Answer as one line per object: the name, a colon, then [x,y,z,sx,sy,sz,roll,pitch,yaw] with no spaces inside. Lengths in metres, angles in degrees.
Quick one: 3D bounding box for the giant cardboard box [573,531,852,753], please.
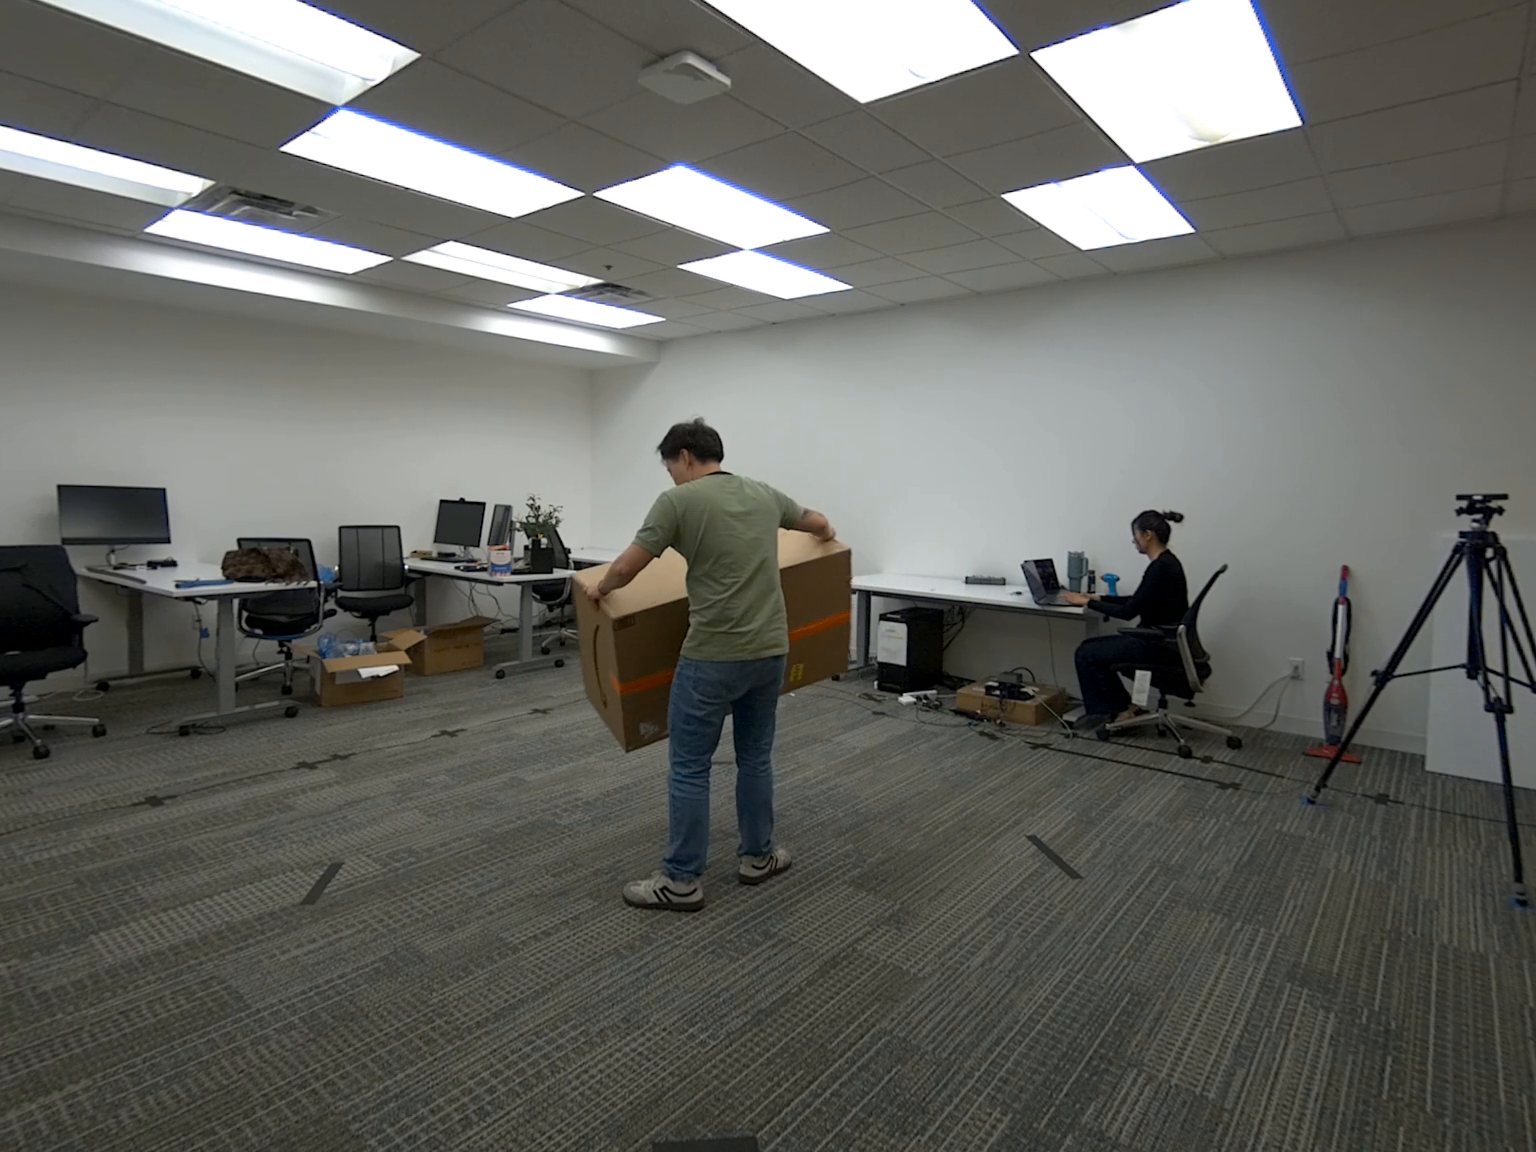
giant cardboard box: [-0.217,0.201,3.391,1.008,0.564,0.444,-17,30,-26]
